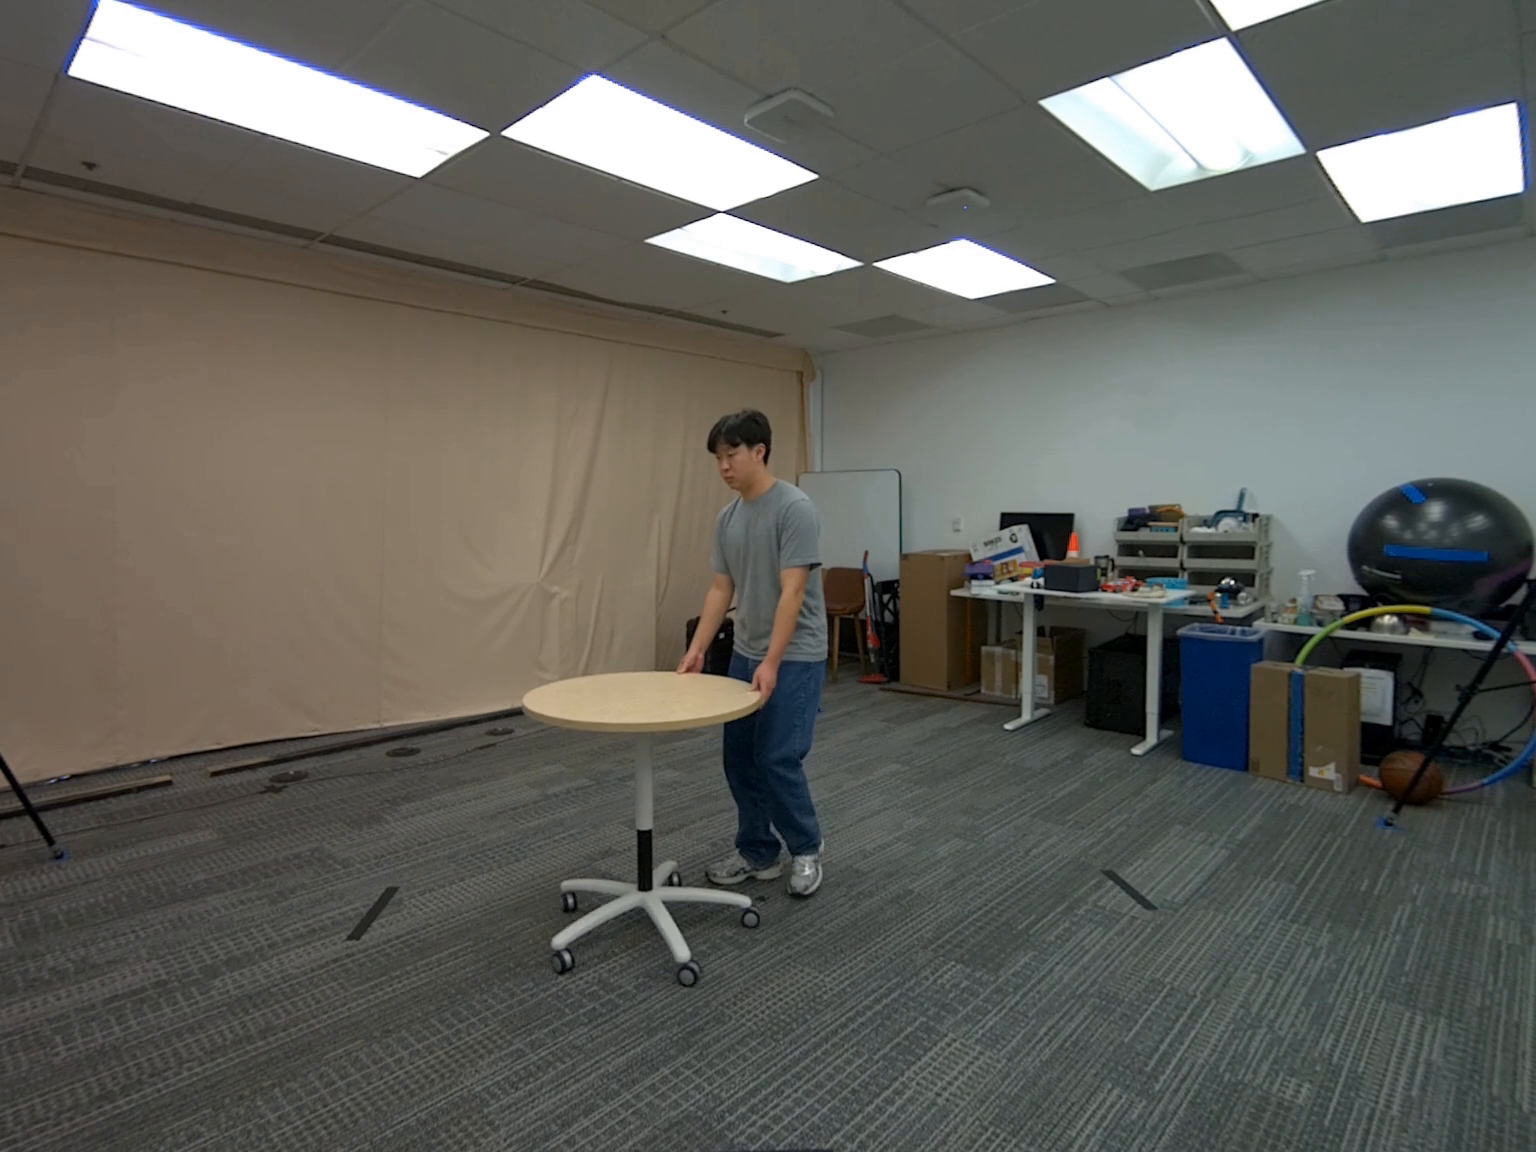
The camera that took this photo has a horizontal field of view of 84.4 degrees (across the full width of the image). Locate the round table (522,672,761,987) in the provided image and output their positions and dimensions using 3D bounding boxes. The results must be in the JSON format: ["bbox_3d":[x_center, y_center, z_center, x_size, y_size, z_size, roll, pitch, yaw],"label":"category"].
[{"bbox_3d":[-0.397,0.777,2.745,0.763,0.792,0.766,-1,3,-2],"label":"round table"}]
